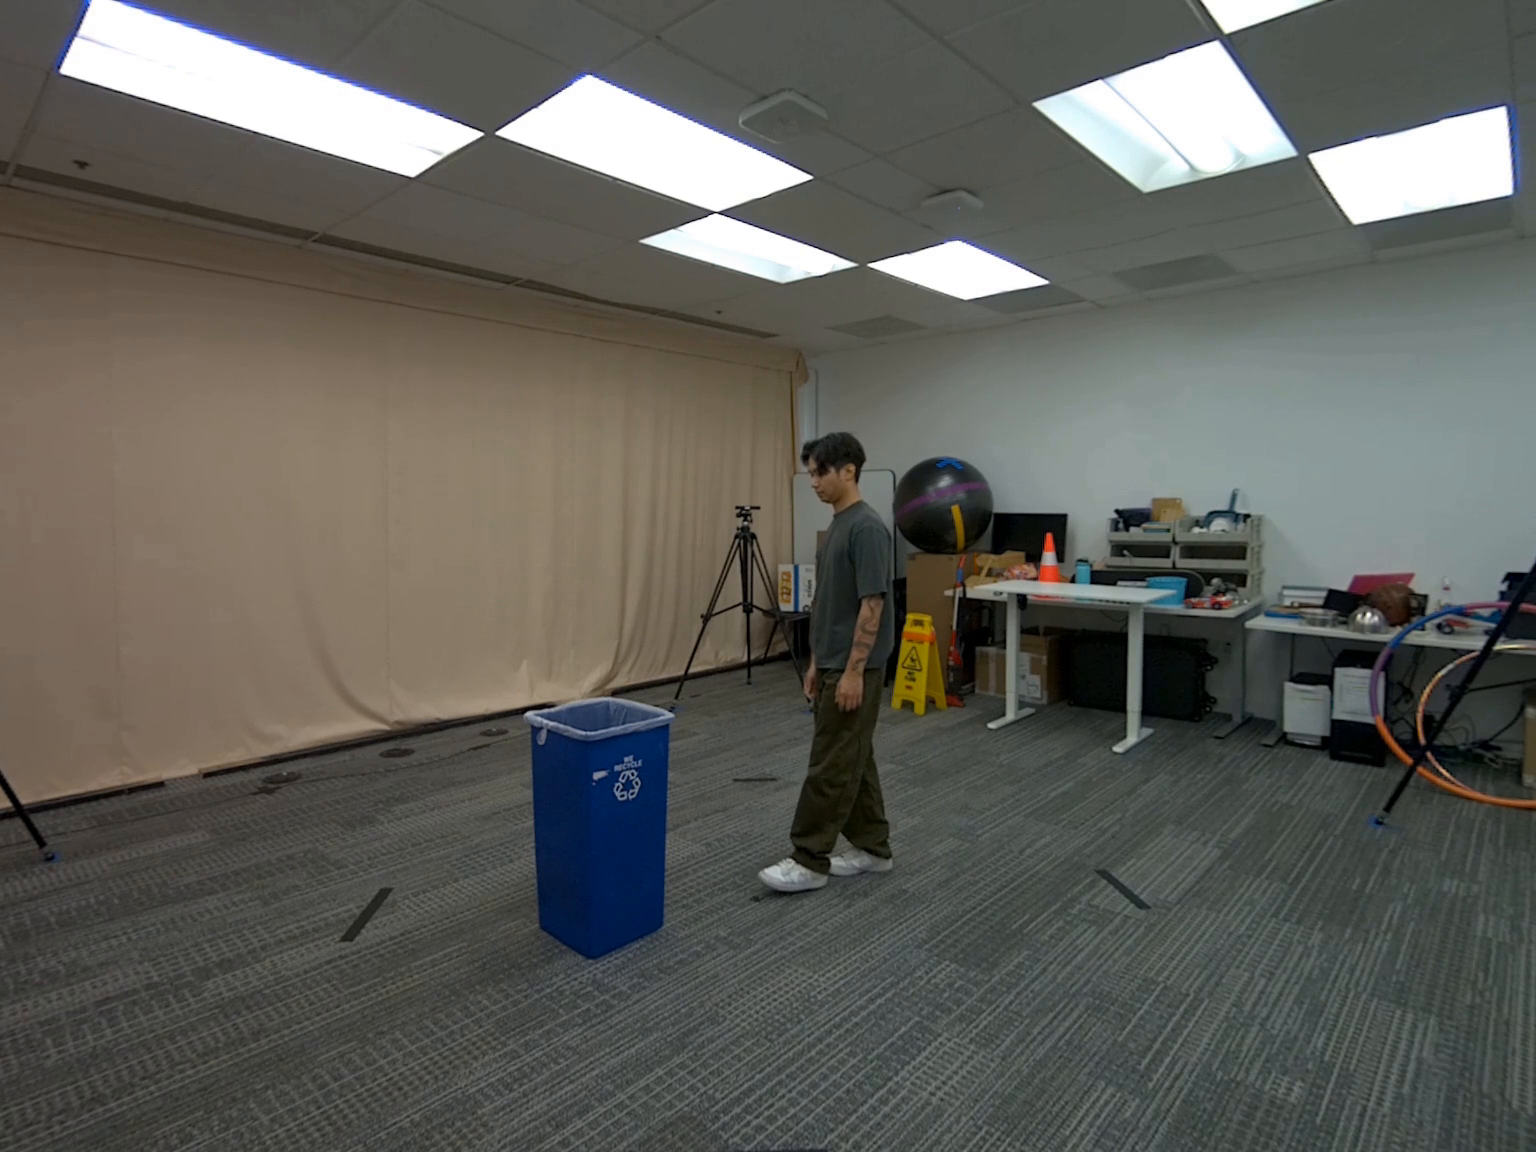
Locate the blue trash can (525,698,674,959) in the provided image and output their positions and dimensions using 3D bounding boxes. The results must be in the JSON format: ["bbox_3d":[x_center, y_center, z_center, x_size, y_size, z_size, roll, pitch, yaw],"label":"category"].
[{"bbox_3d":[-0.552,0.807,2.779,0.390,0.712,0.362,3,5,43],"label":"blue trash can"}]
